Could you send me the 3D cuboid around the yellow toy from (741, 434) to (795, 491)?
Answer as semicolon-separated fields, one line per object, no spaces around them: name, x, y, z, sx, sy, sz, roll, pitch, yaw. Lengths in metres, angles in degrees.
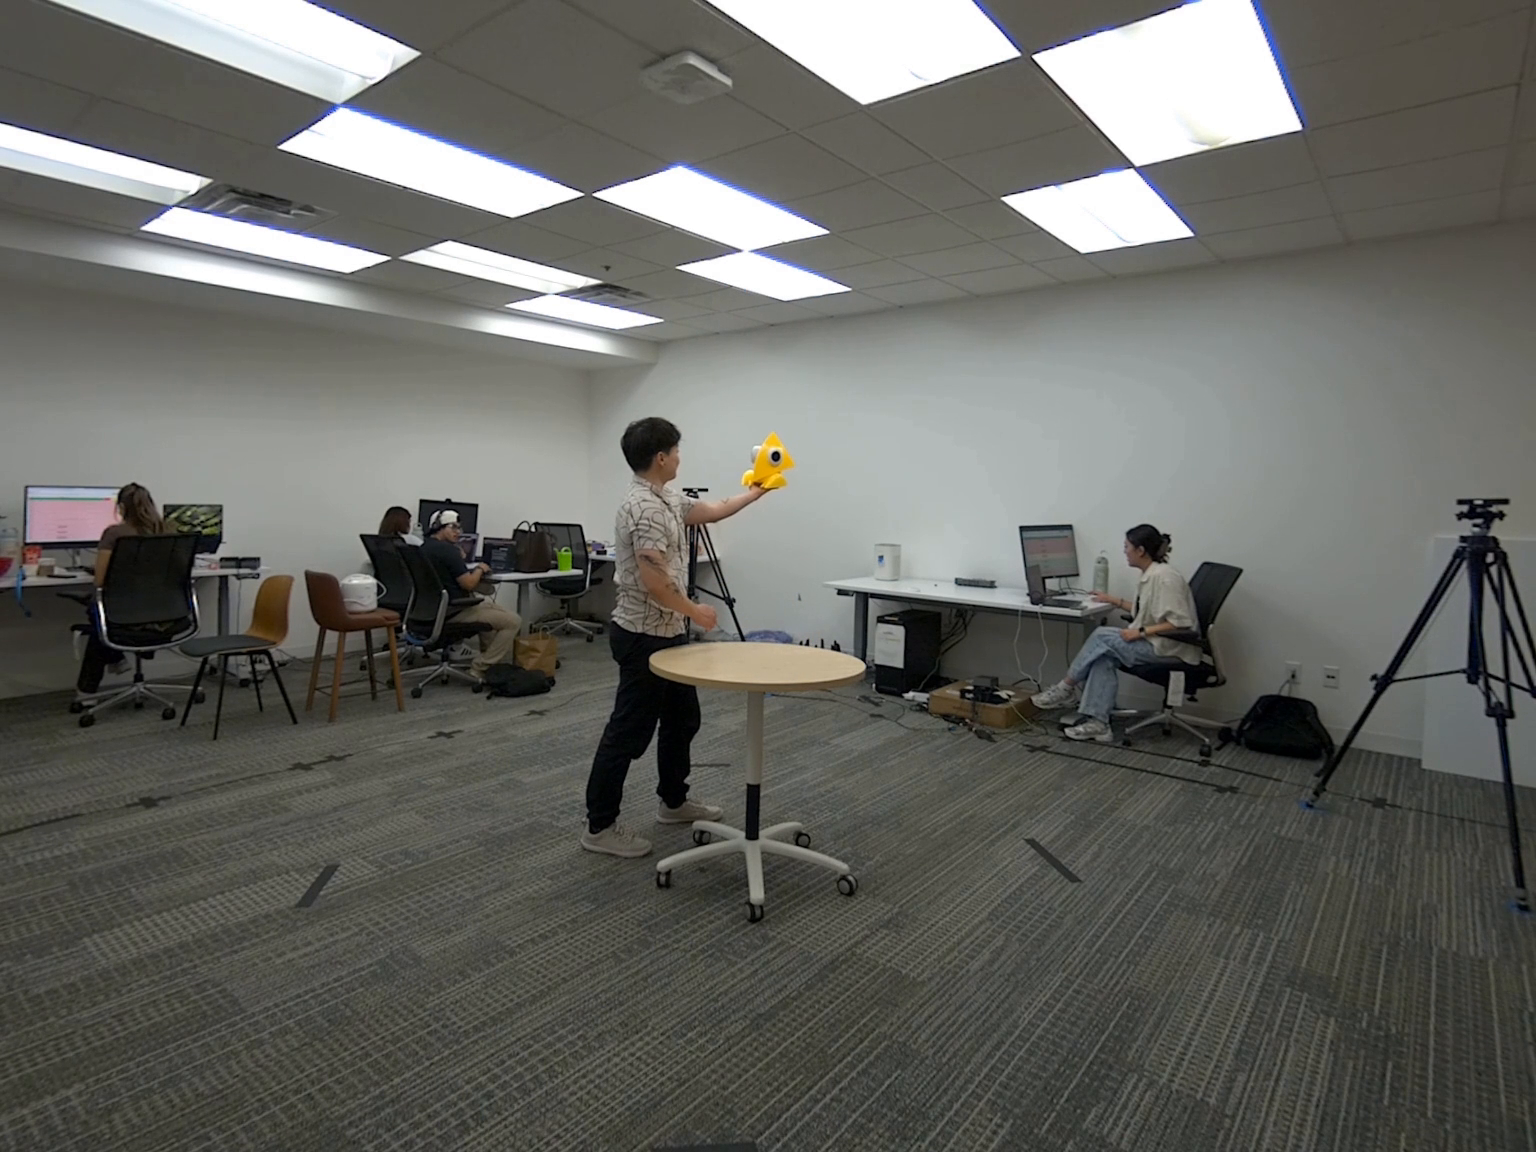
yellow toy;-0.023;-0.529;3.799;0.212;0.228;0.189;10;17;35
